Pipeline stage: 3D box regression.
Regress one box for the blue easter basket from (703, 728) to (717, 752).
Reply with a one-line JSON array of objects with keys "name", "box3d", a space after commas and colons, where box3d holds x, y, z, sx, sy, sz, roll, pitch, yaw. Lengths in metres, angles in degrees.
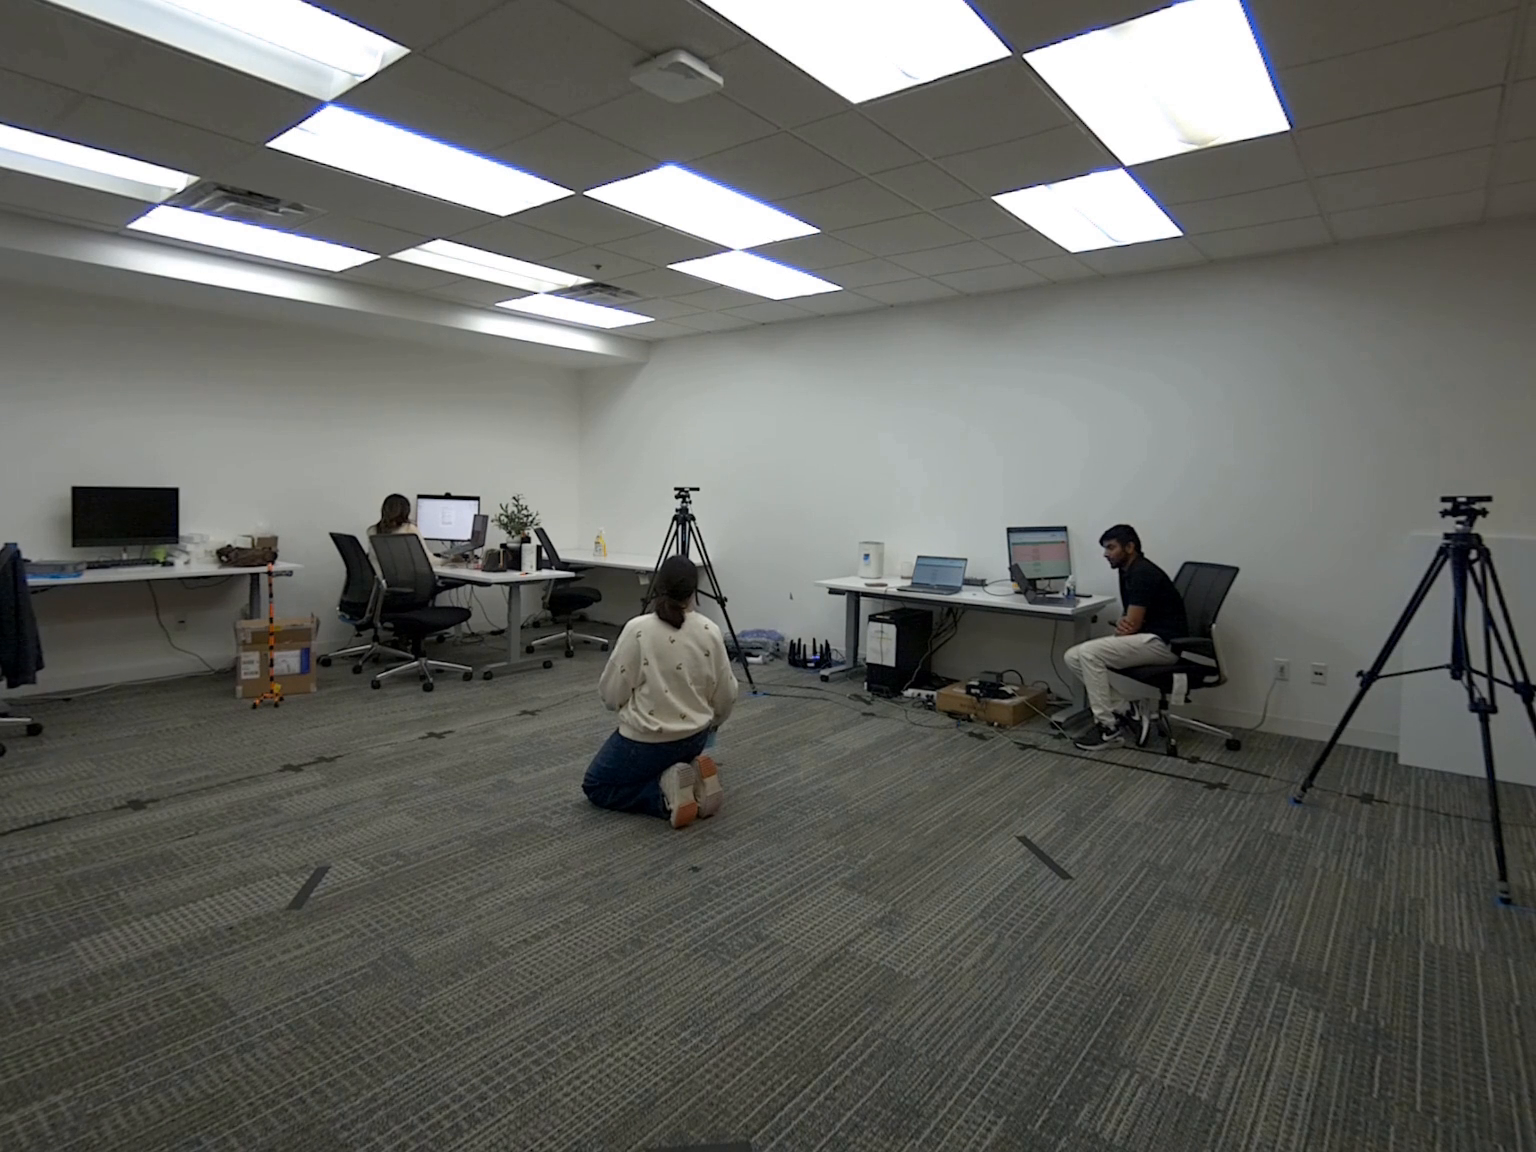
[{"name": "blue easter basket", "box3d": [-0.359, 0.729, 4.126, 0.243, 0.155, 0.245, 2, 4, -2]}]
